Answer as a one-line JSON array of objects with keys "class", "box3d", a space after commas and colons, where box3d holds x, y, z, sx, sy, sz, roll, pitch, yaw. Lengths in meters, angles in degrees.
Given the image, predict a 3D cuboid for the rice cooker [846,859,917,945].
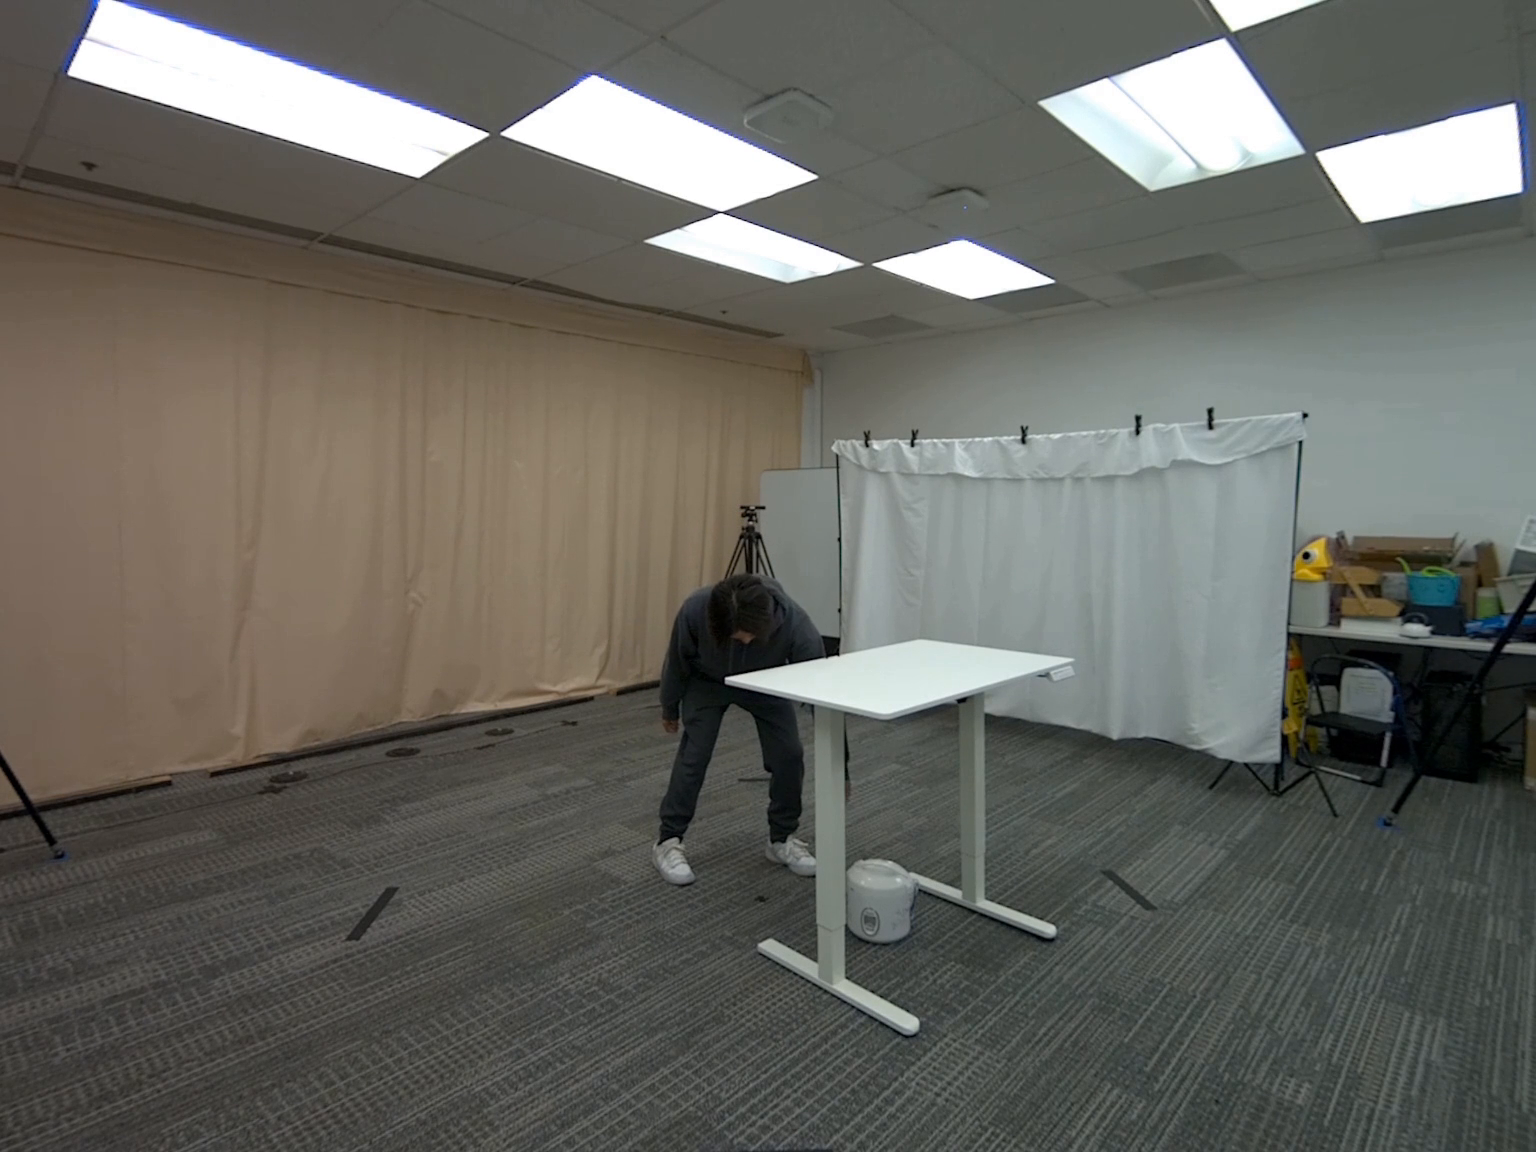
[{"class": "rice cooker", "box3d": [0.368, 1.045, 2.745, 0.226, 0.232, 0.212, 2, 3, 25]}]
